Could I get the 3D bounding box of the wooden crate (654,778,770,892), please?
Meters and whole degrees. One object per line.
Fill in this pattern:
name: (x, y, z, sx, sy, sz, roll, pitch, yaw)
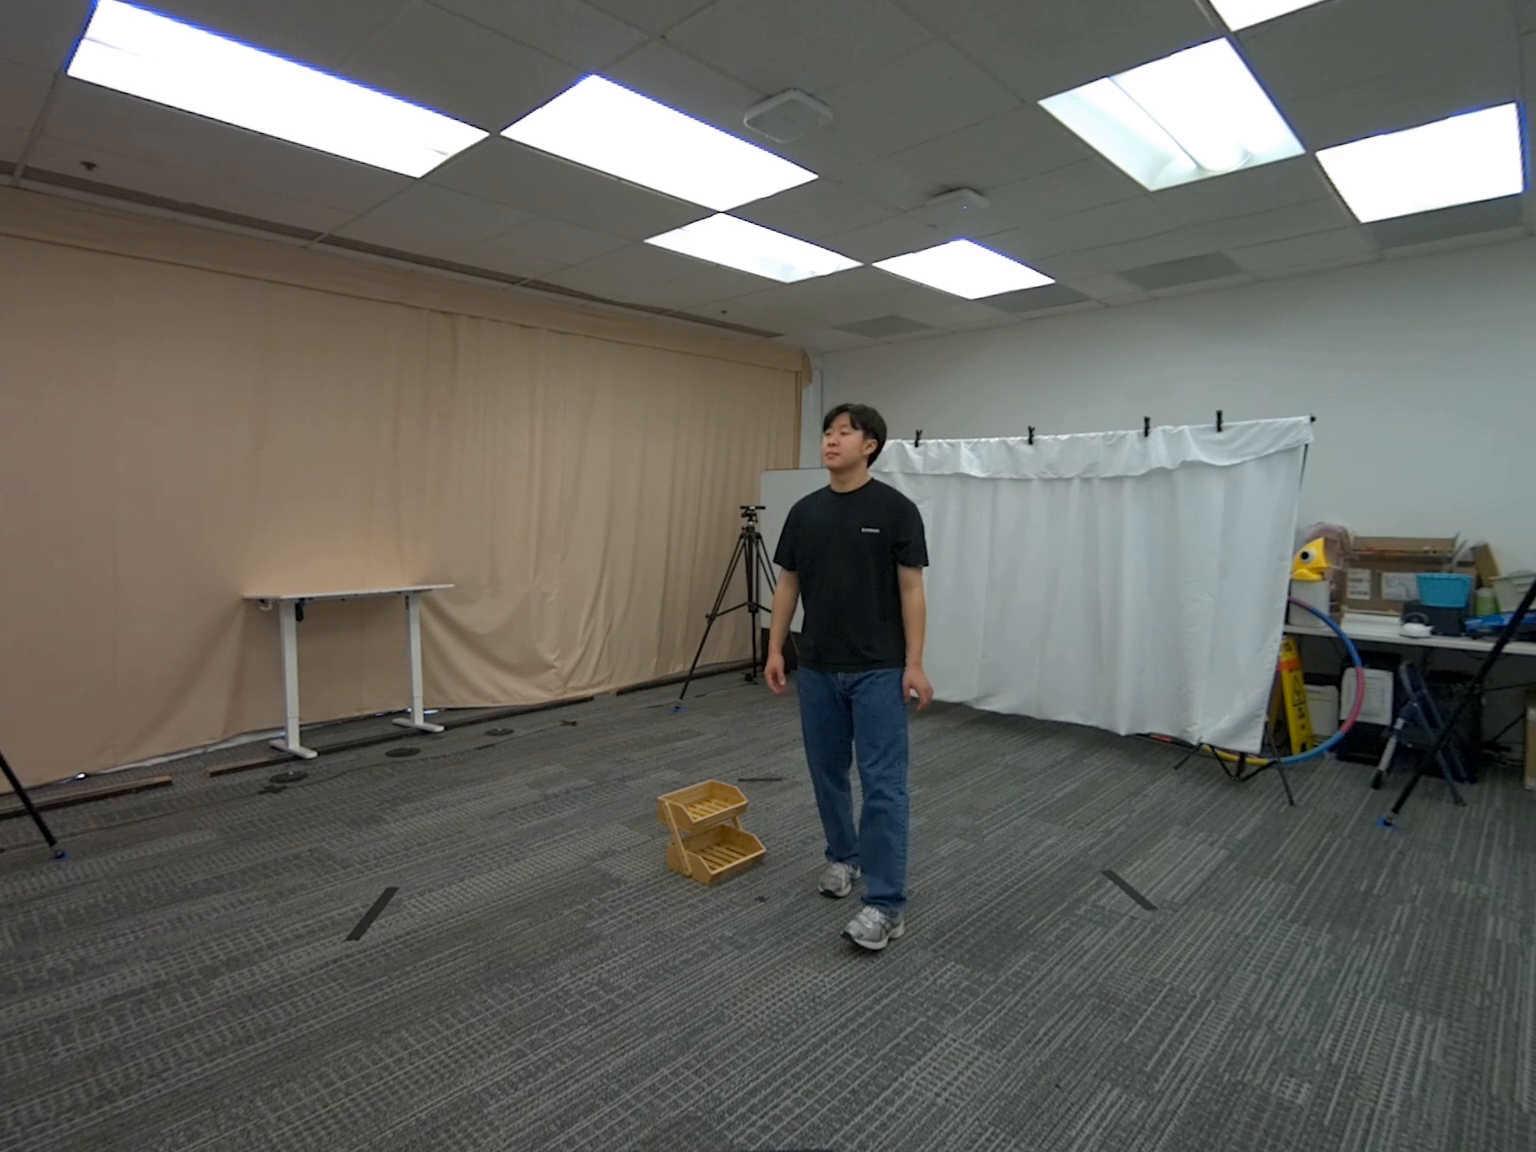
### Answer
wooden crate: (-0.219, 0.986, 3.280, 0.312, 0.273, 0.314, 3, 5, 43)
